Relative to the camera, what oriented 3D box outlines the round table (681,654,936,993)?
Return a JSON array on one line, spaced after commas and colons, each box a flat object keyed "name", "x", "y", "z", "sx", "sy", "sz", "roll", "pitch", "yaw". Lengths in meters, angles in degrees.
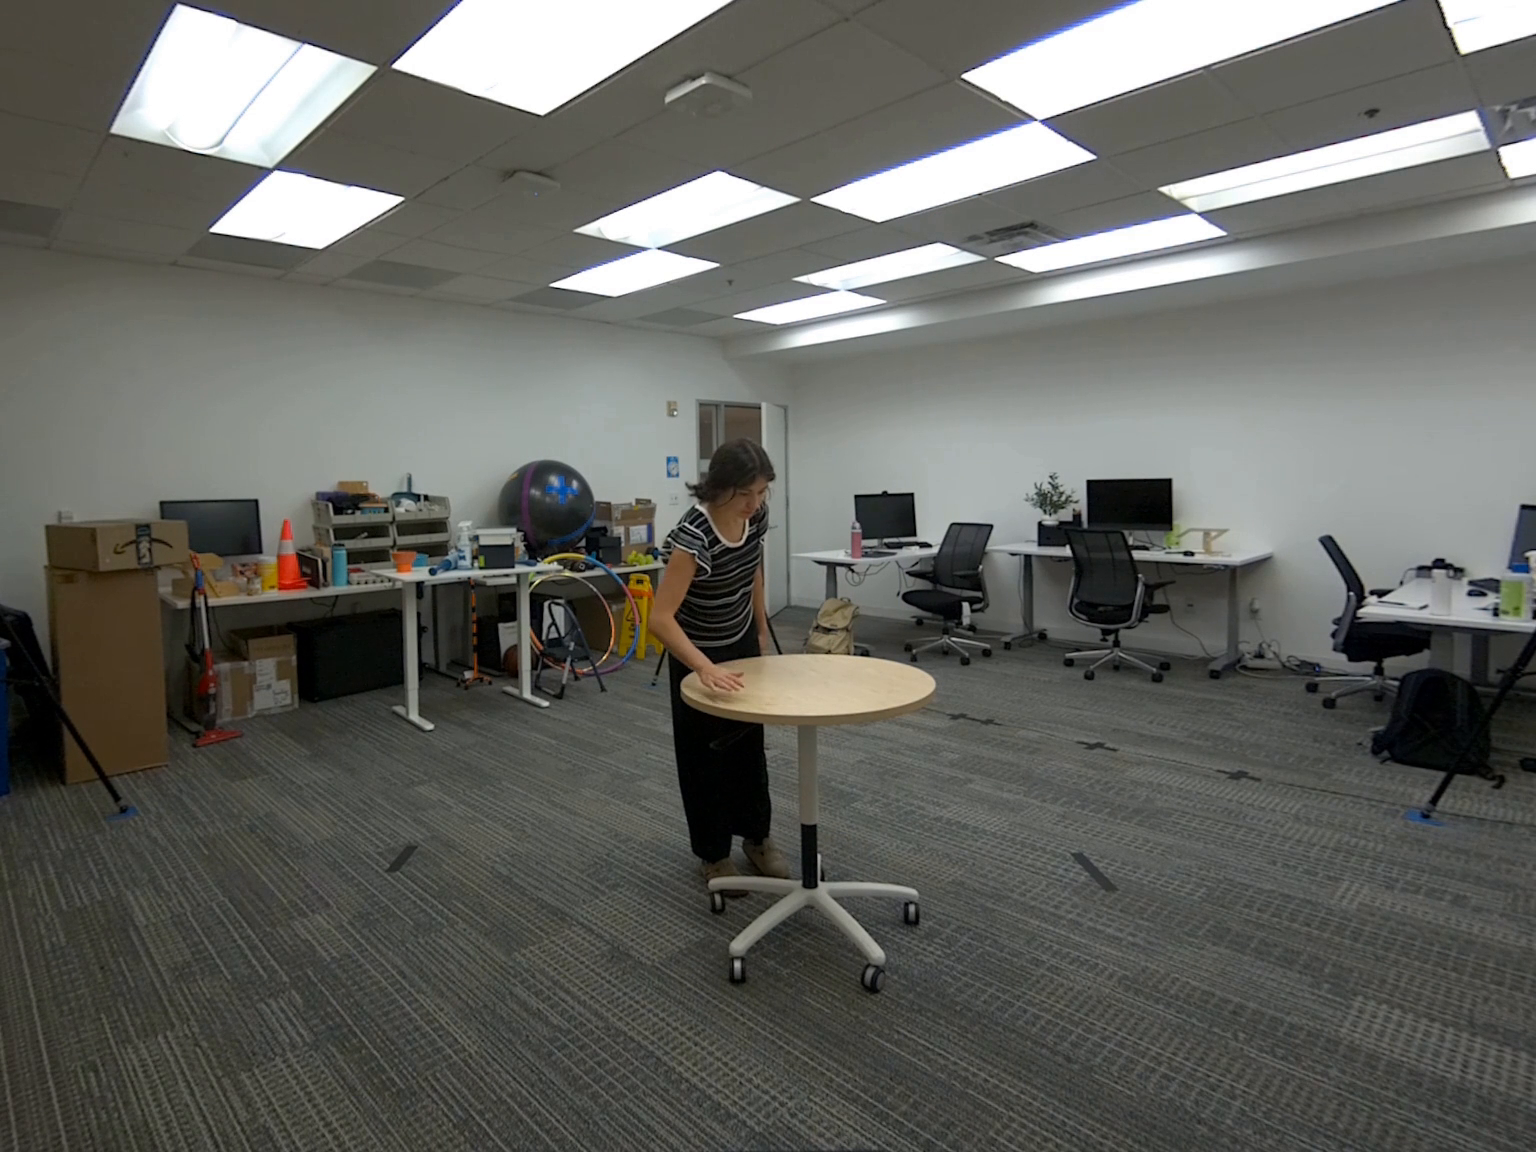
[{"name": "round table", "x": 0.134, "y": 0.712, "z": 2.615, "sx": 0.763, "sy": 0.791, "sz": 0.768, "roll": -2, "pitch": 5, "yaw": -2}]
